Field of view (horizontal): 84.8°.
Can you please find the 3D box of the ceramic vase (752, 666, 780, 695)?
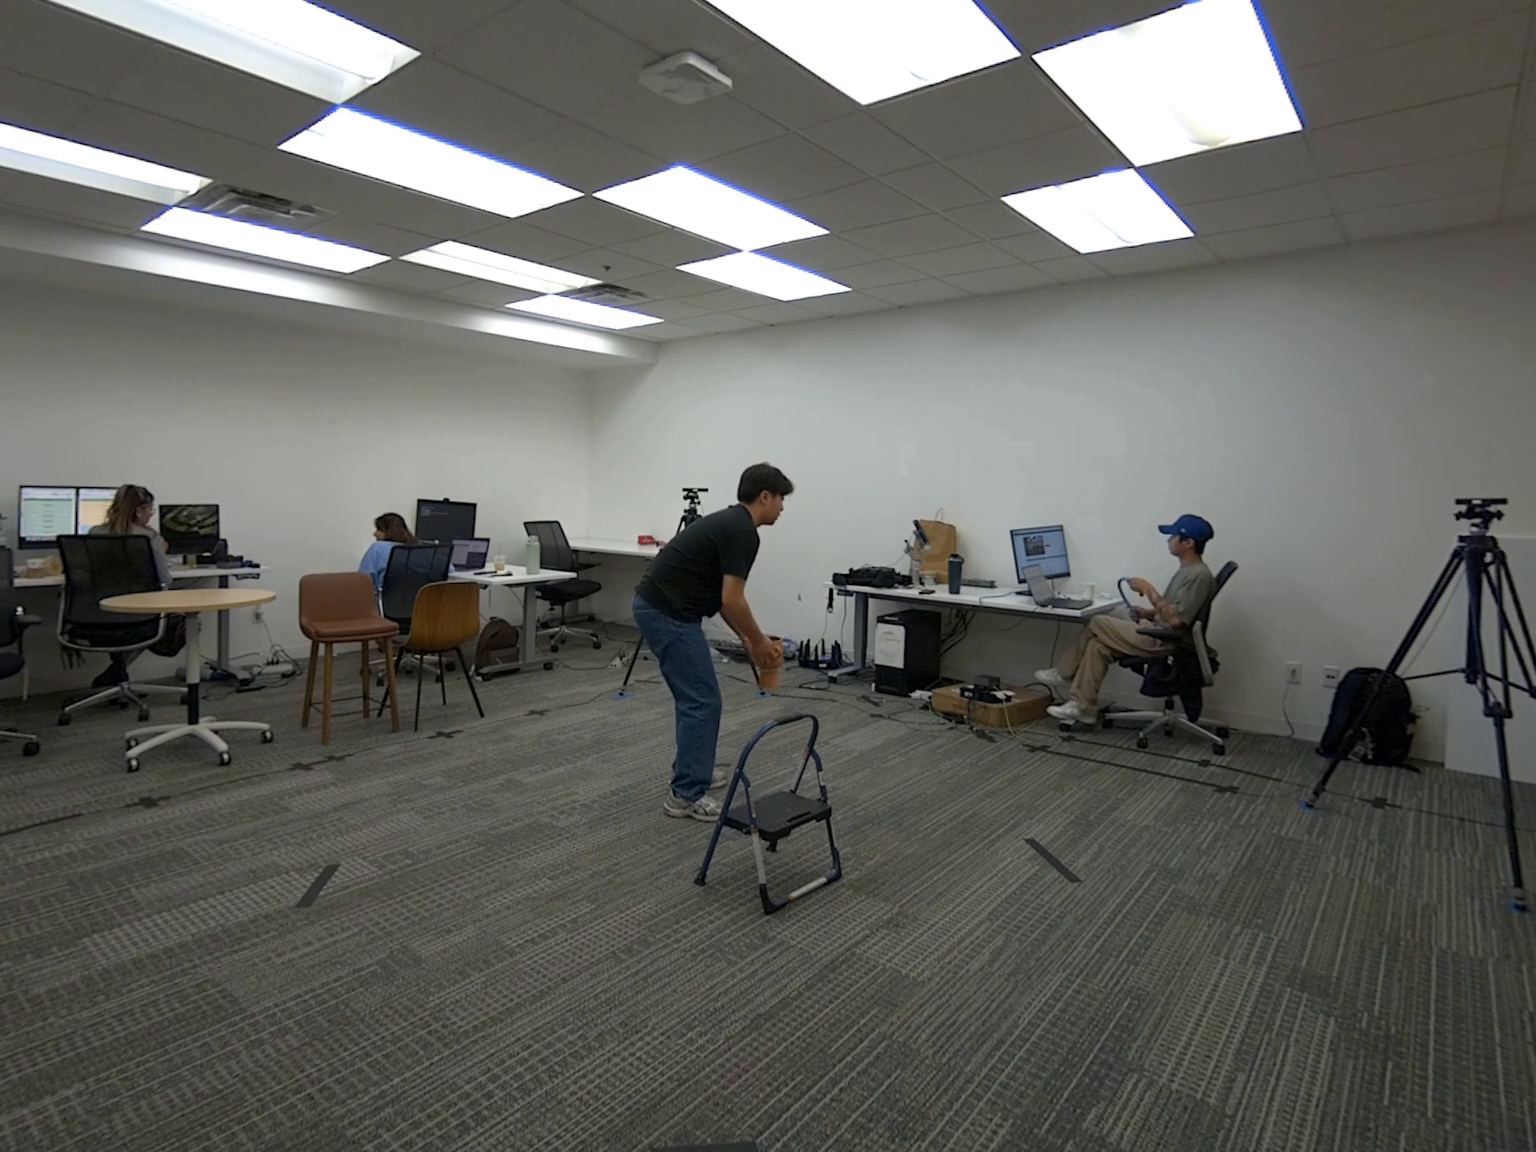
[{"bbox_3d":[-0.004,0.402,3.913,0.135,0.218,0.160,-1,6,0],"label":"ceramic vase"}]
